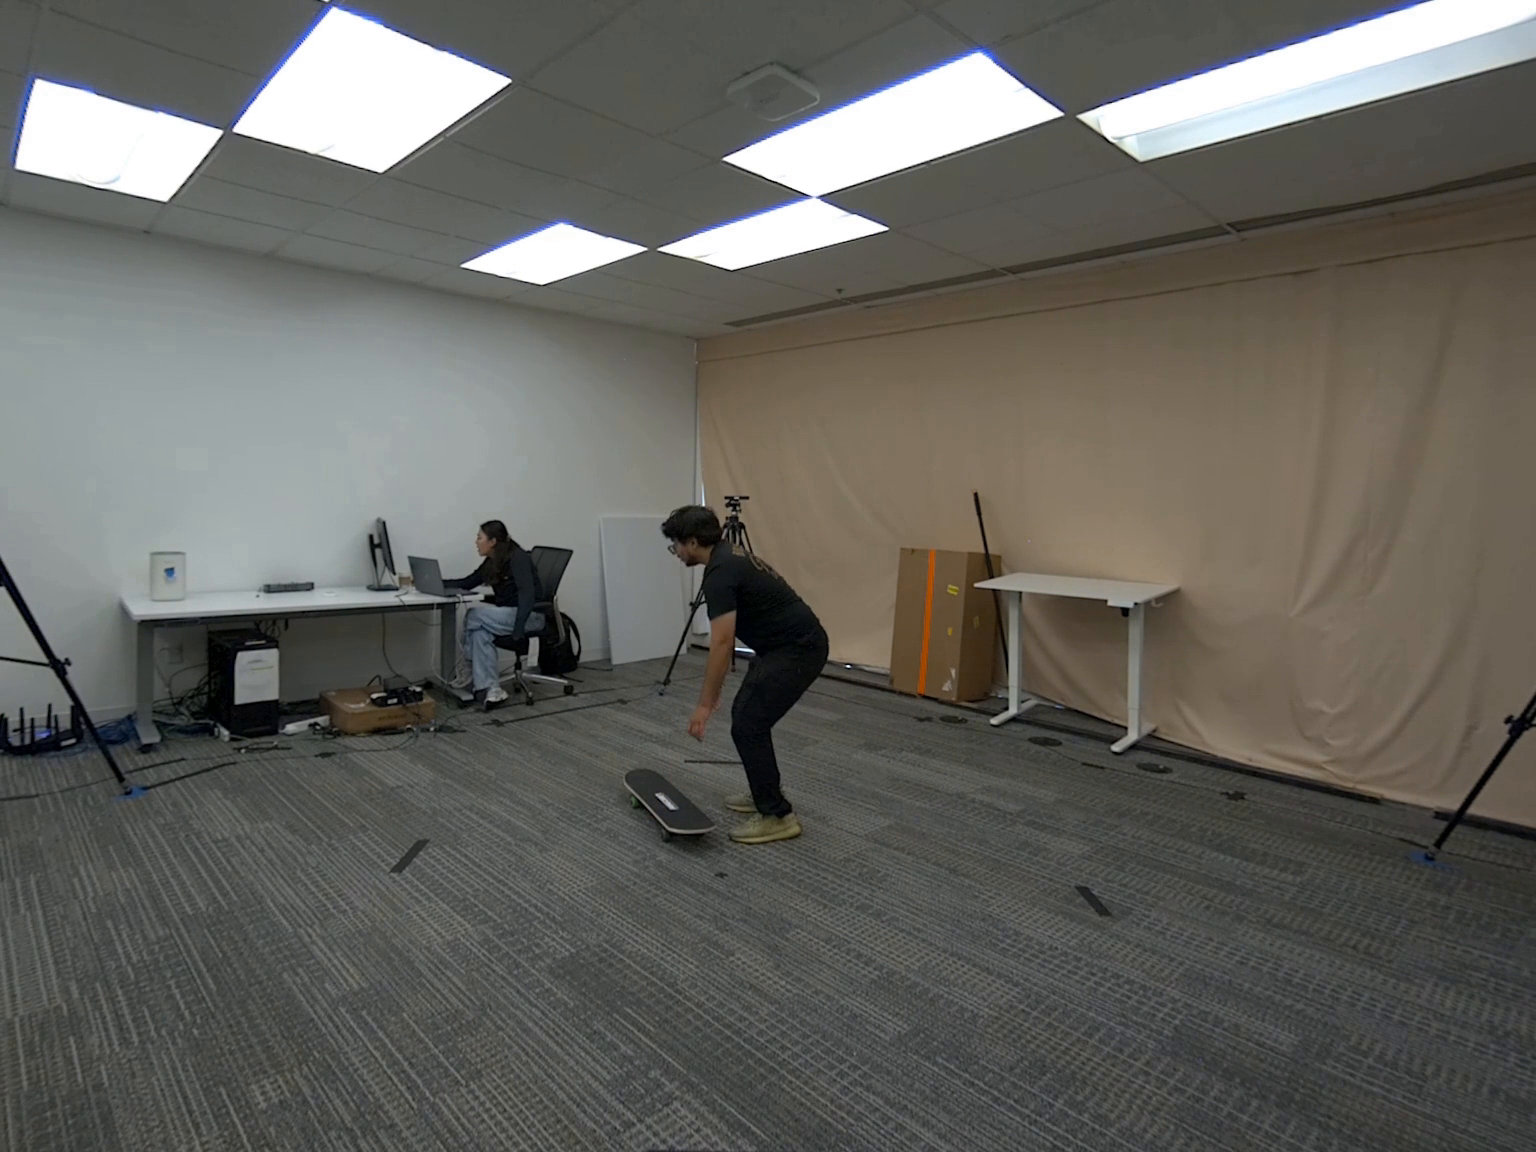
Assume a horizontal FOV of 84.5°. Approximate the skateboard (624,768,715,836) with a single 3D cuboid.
[{"bbox_3d":[-0.442,0.991,3.608,0.190,0.110,0.802,-2,6,-26],"label":"skateboard"}]
